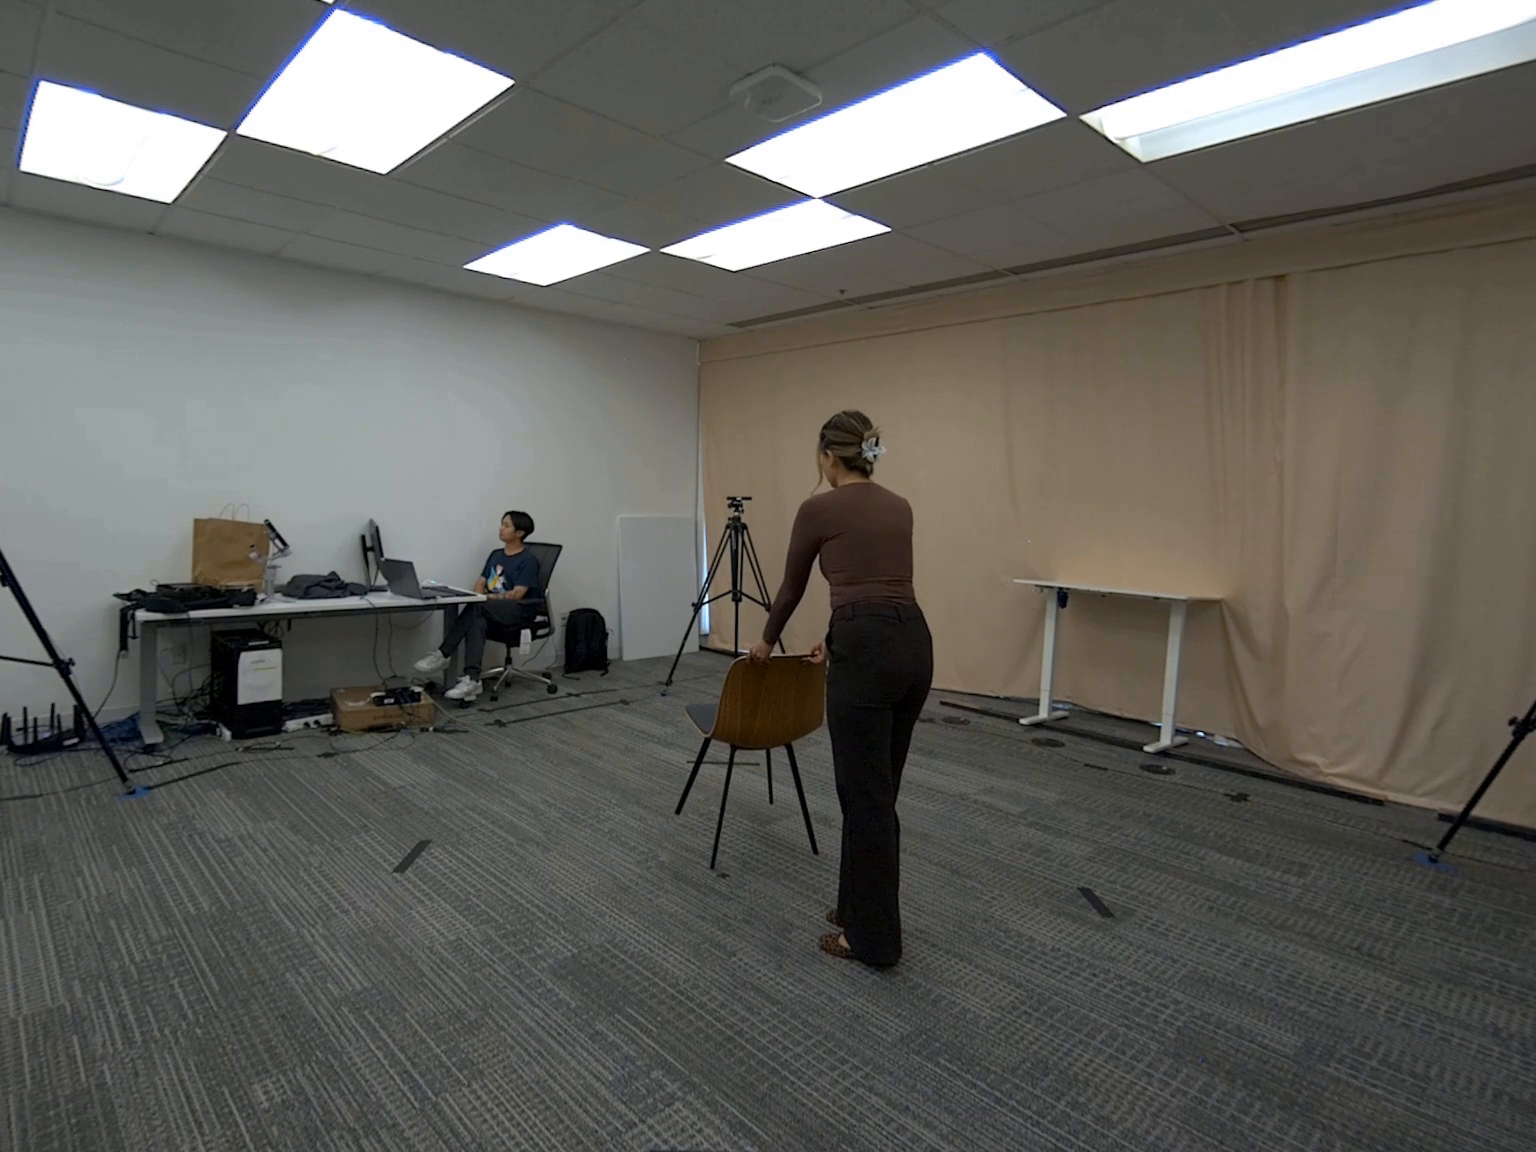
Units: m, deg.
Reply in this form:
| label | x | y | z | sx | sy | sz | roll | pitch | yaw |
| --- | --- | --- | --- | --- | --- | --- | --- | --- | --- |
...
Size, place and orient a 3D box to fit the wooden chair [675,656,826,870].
| label | x | y | z | sx | sy | sz | roll | pitch | yaw |
| --- | --- | --- | --- | --- | --- | --- | --- | --- | --- |
| wooden chair | -0.073 | 0.636 | 3.368 | 0.470 | 0.870 | 0.536 | 0 | 15 | -23 |
